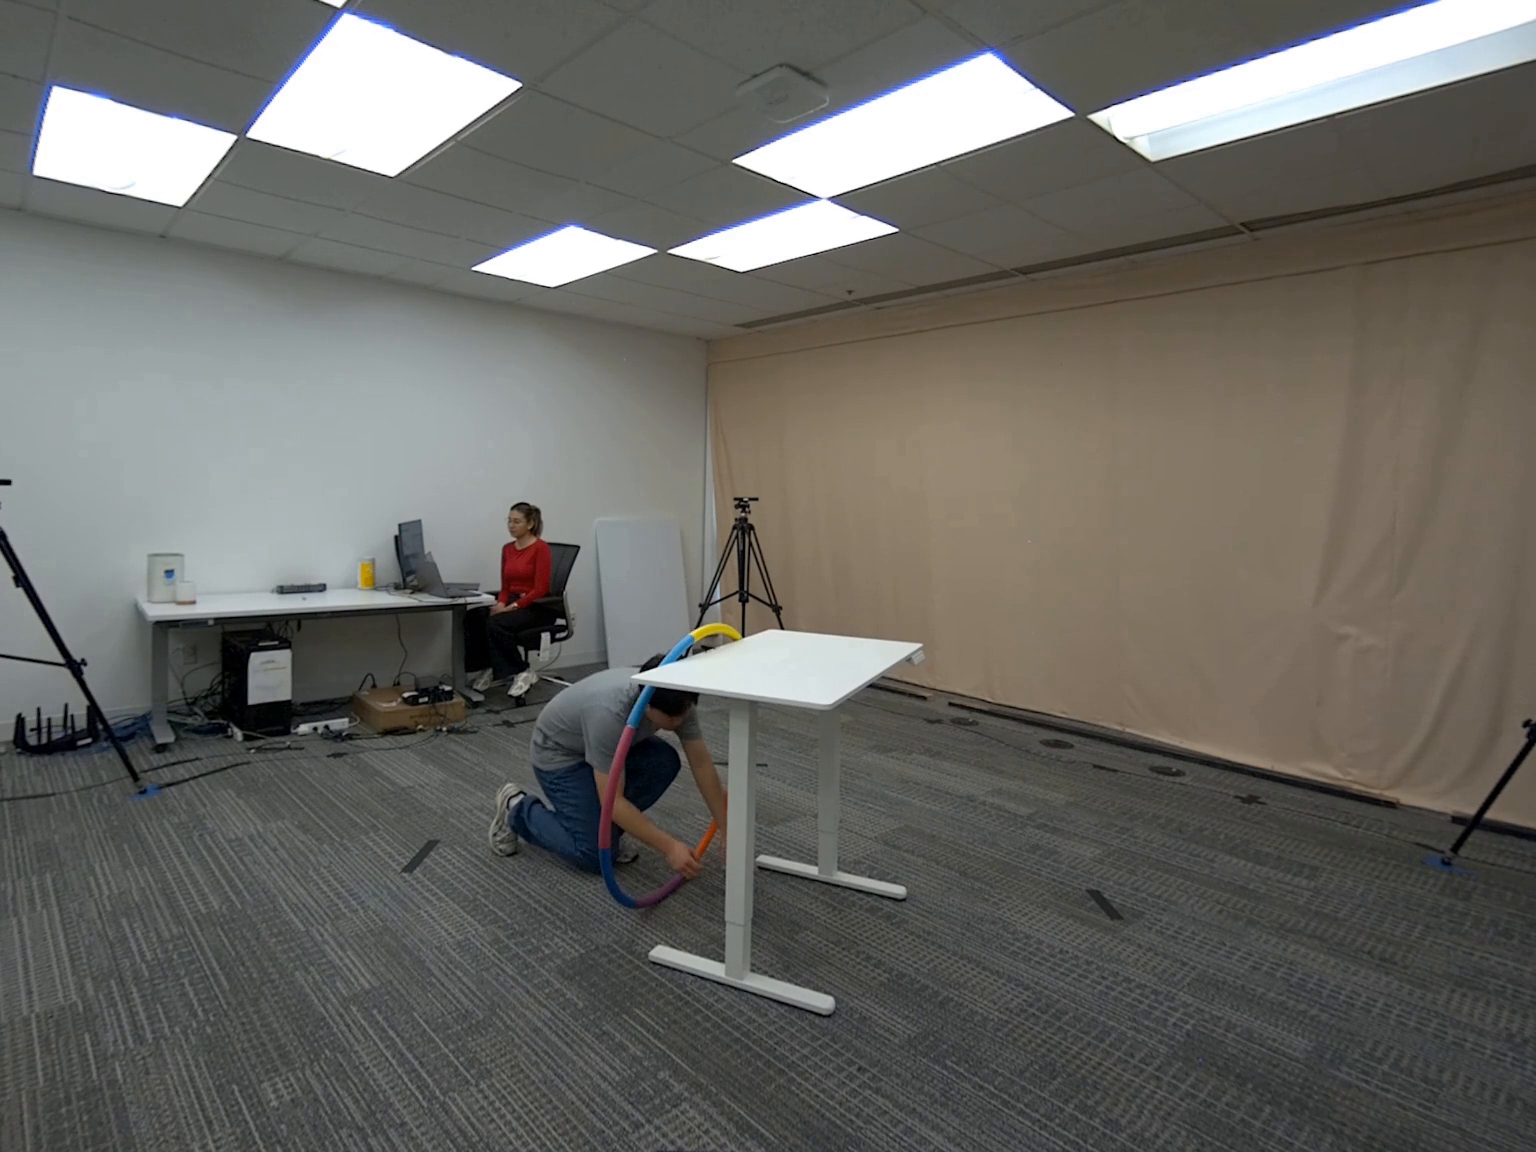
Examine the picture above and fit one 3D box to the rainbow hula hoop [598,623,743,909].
[{"bbox_3d":[-0.295,0.639,2.892,0.036,0.974,0.963,14,9,21],"label":"rainbow hula hoop"}]
